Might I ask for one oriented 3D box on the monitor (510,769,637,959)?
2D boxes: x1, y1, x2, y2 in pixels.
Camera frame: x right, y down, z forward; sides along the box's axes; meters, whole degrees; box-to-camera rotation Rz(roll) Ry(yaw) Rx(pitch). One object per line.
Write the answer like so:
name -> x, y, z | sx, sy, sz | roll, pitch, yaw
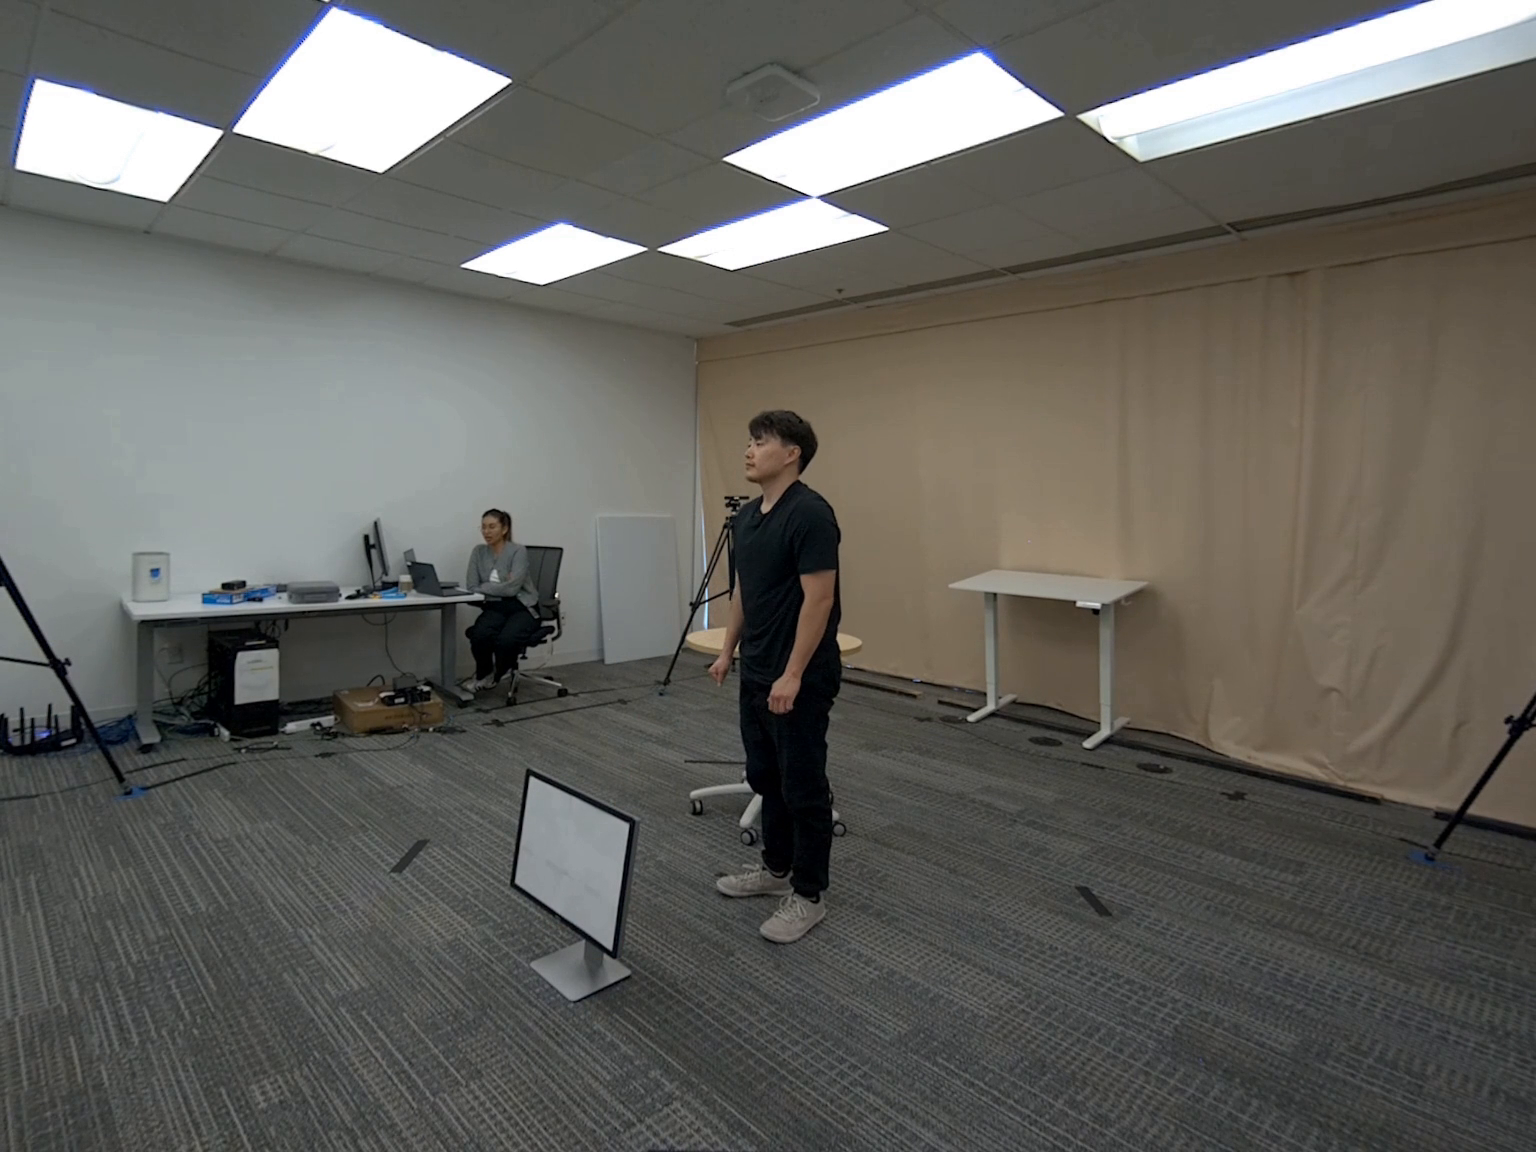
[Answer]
monitor -> -0.548, 0.896, 2.427 | 0.553, 0.520, 0.183 | 5, 8, 44
